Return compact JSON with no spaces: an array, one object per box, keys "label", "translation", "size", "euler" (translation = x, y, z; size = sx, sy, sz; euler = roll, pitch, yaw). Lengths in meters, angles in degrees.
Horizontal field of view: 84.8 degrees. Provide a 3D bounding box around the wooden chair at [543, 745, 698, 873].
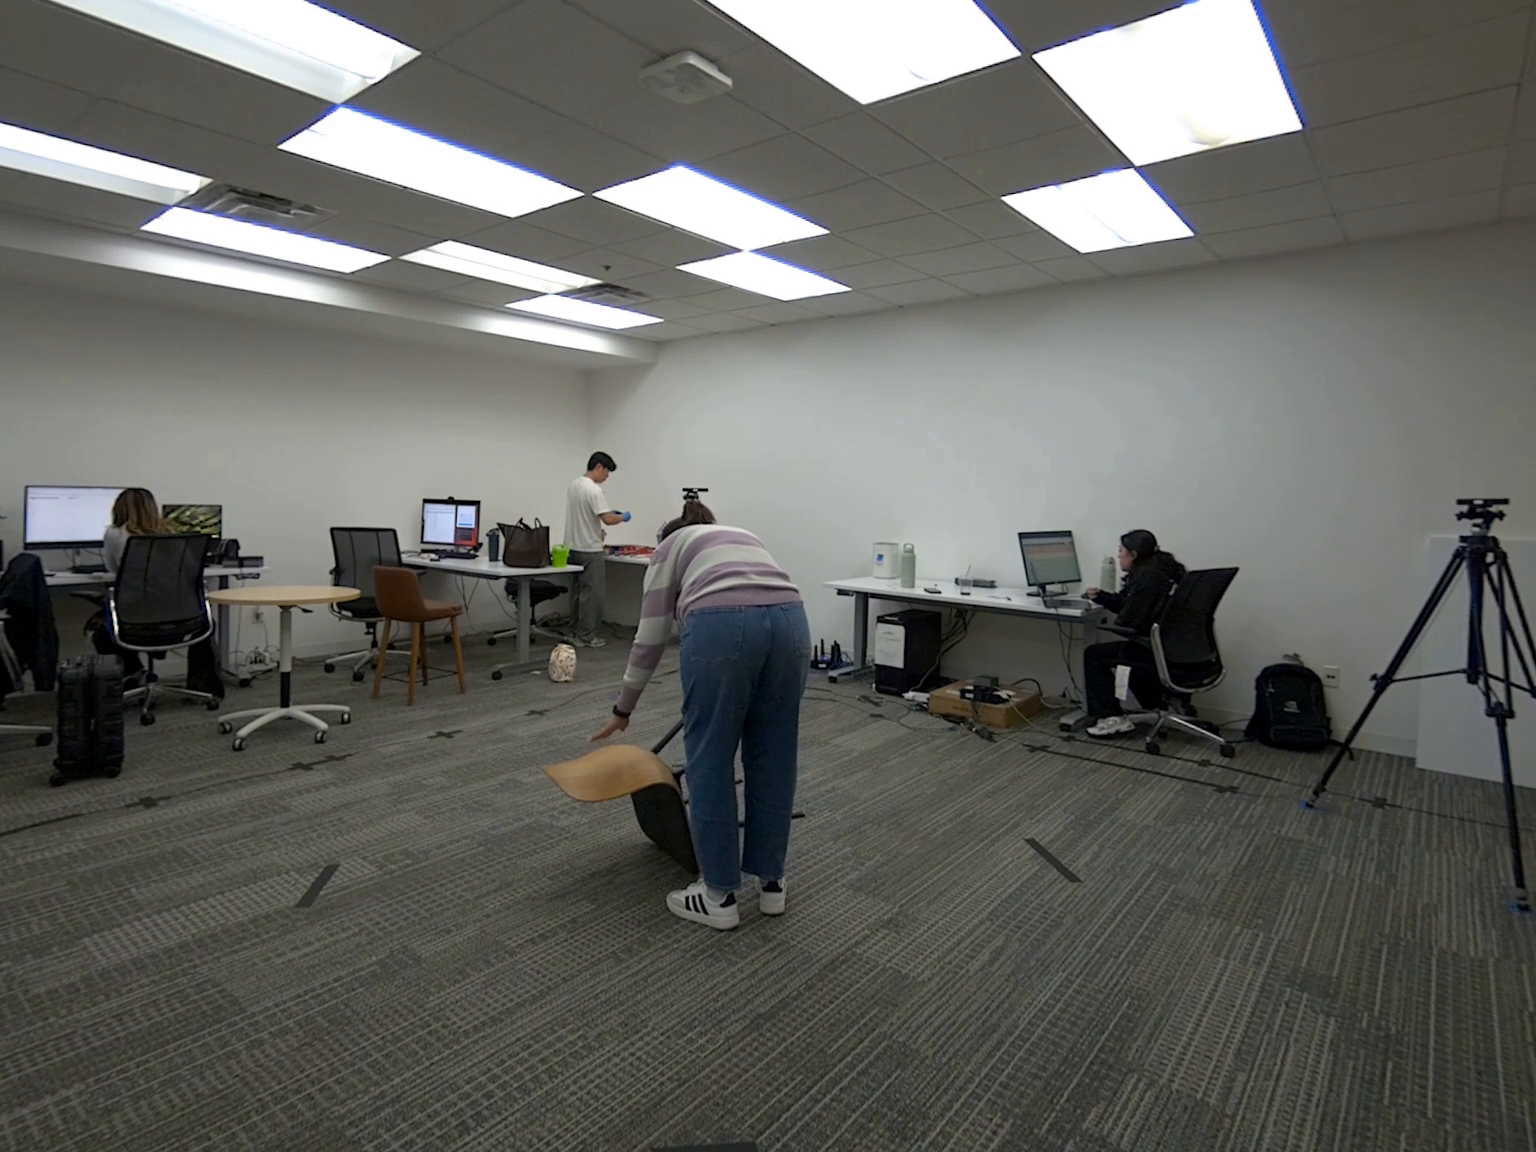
[{"label":"wooden chair","translation":[-0.383,0.812,3.160],"size":[0.859,0.517,0.494],"euler":[-16,13,-31]}]
